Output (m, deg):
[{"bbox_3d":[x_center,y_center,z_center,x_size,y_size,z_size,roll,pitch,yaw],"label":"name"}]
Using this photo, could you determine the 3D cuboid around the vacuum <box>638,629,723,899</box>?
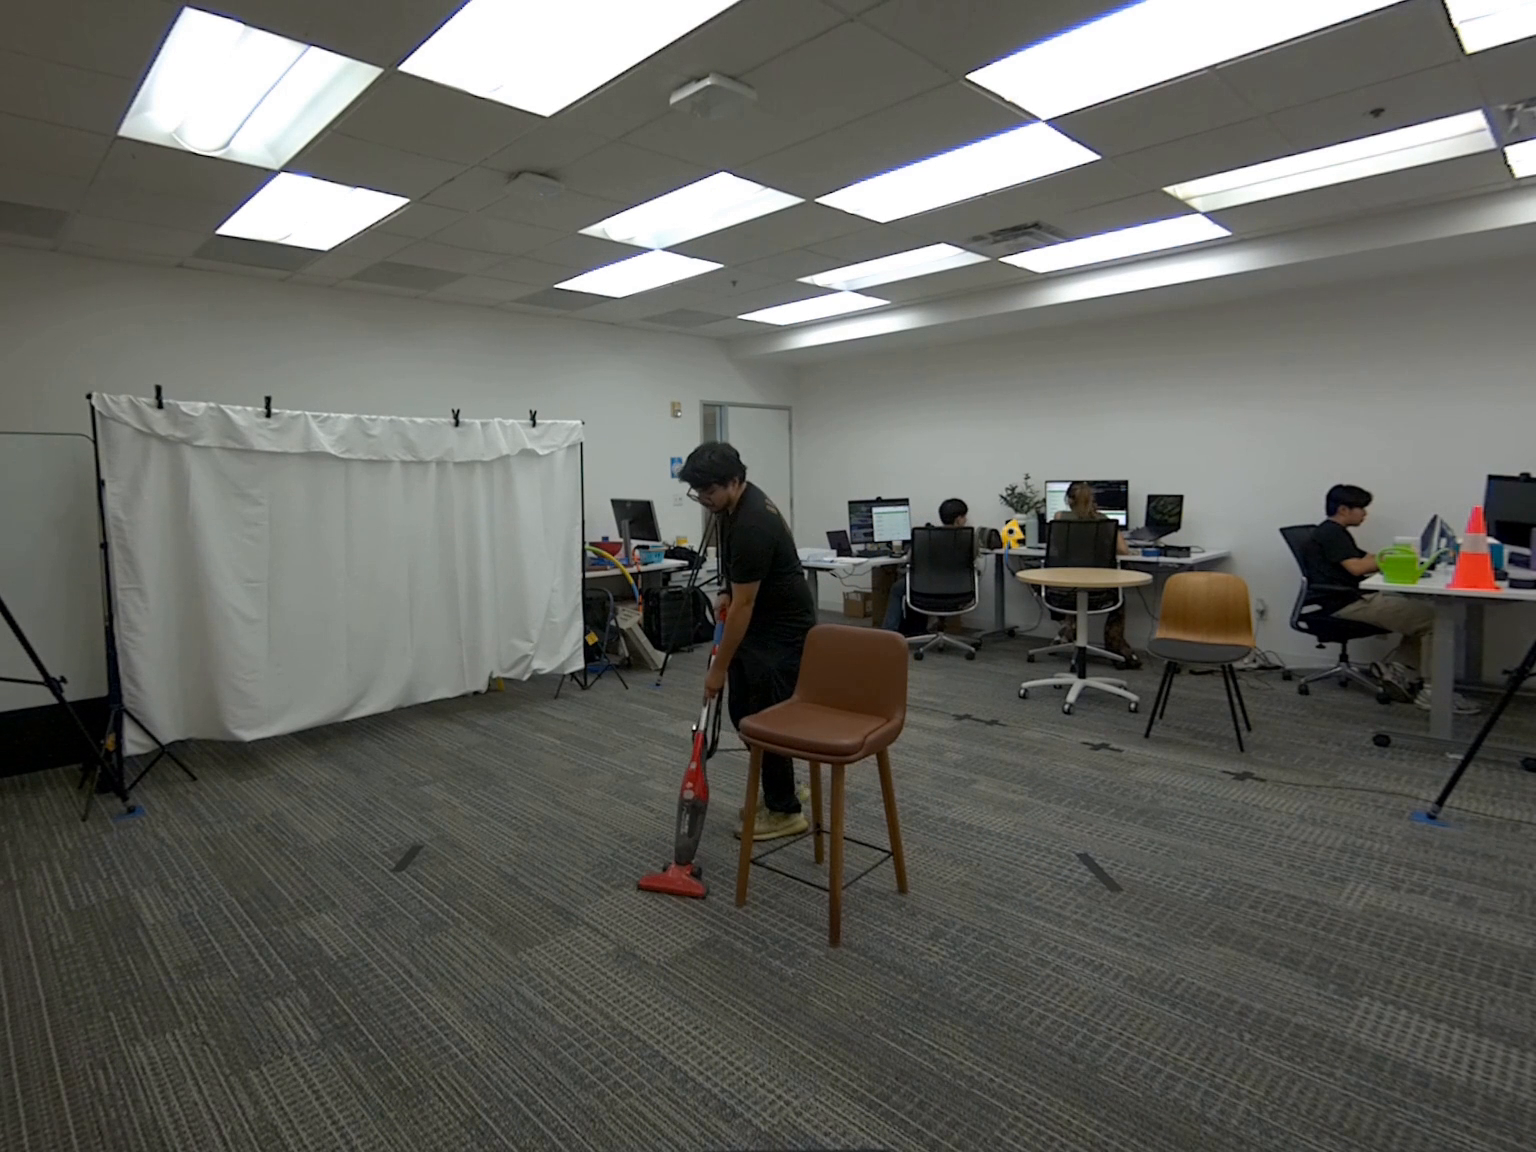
[{"bbox_3d":[-0.240,0.593,3.186,0.258,1.068,0.138,-4,-29,23],"label":"vacuum"}]
